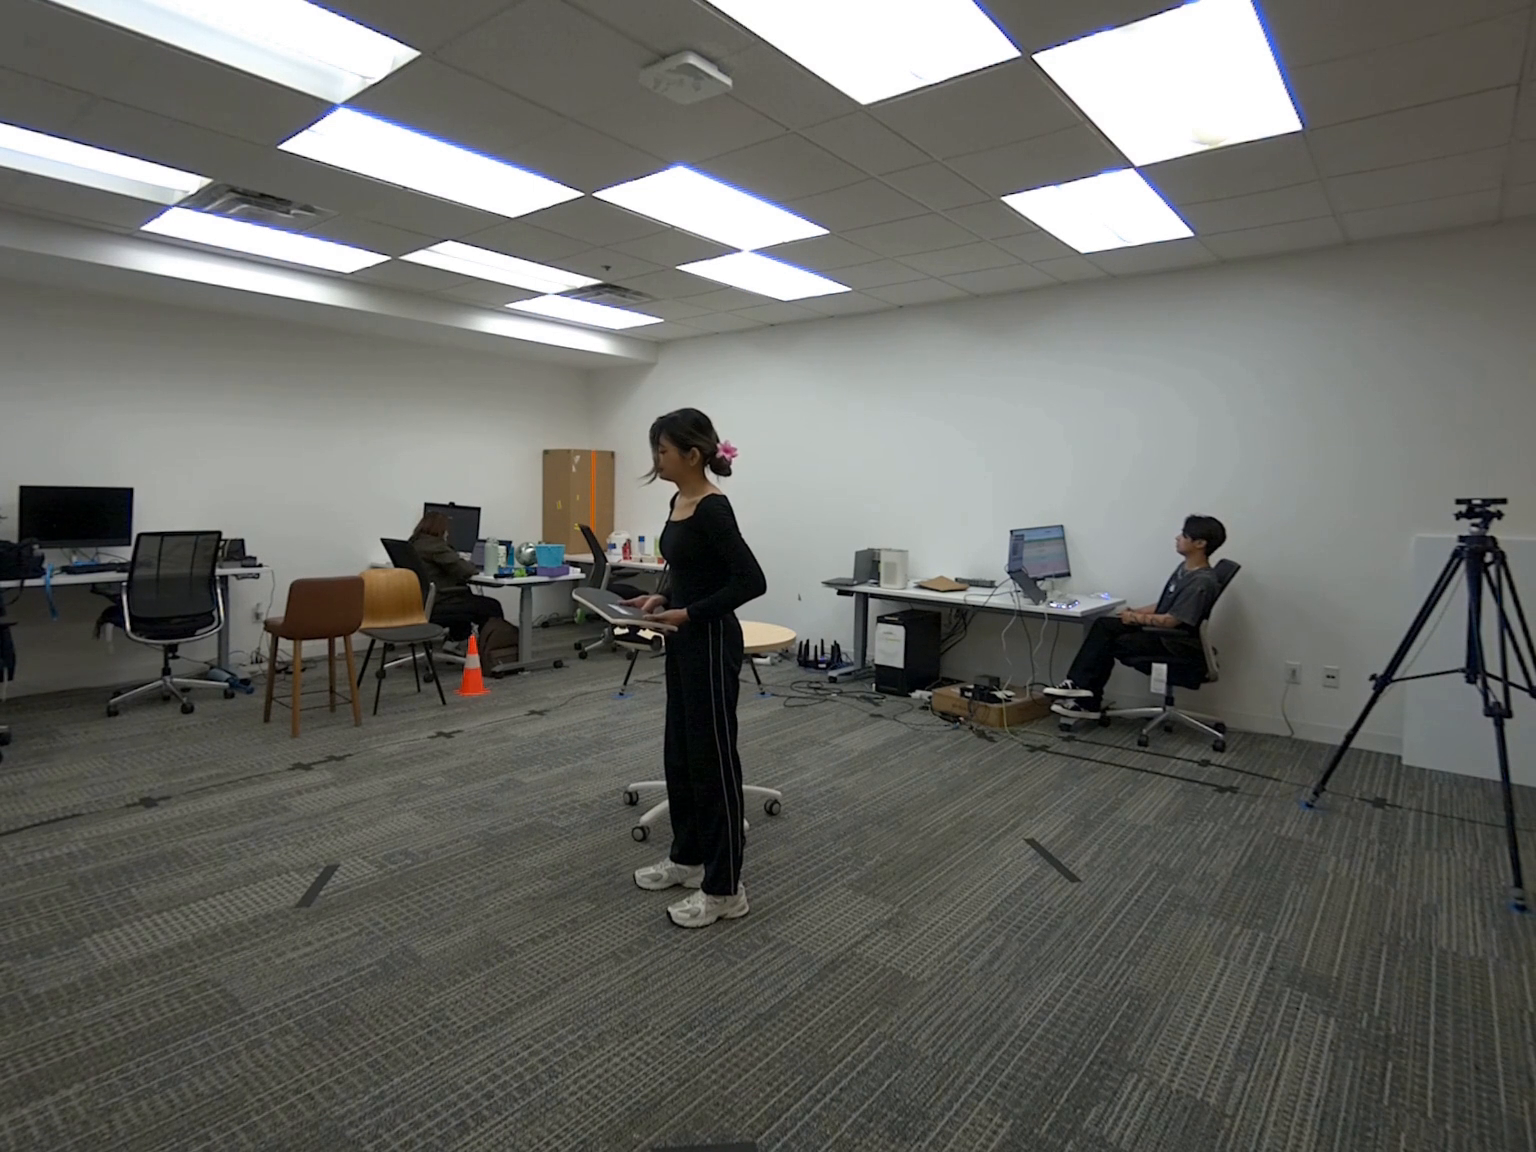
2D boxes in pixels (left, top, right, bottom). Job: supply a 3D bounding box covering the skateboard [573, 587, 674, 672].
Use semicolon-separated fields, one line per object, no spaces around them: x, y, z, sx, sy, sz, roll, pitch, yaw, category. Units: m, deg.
-0.493;0.142;2.746;0.188;0.110;0.808;9;2;-27;skateboard
